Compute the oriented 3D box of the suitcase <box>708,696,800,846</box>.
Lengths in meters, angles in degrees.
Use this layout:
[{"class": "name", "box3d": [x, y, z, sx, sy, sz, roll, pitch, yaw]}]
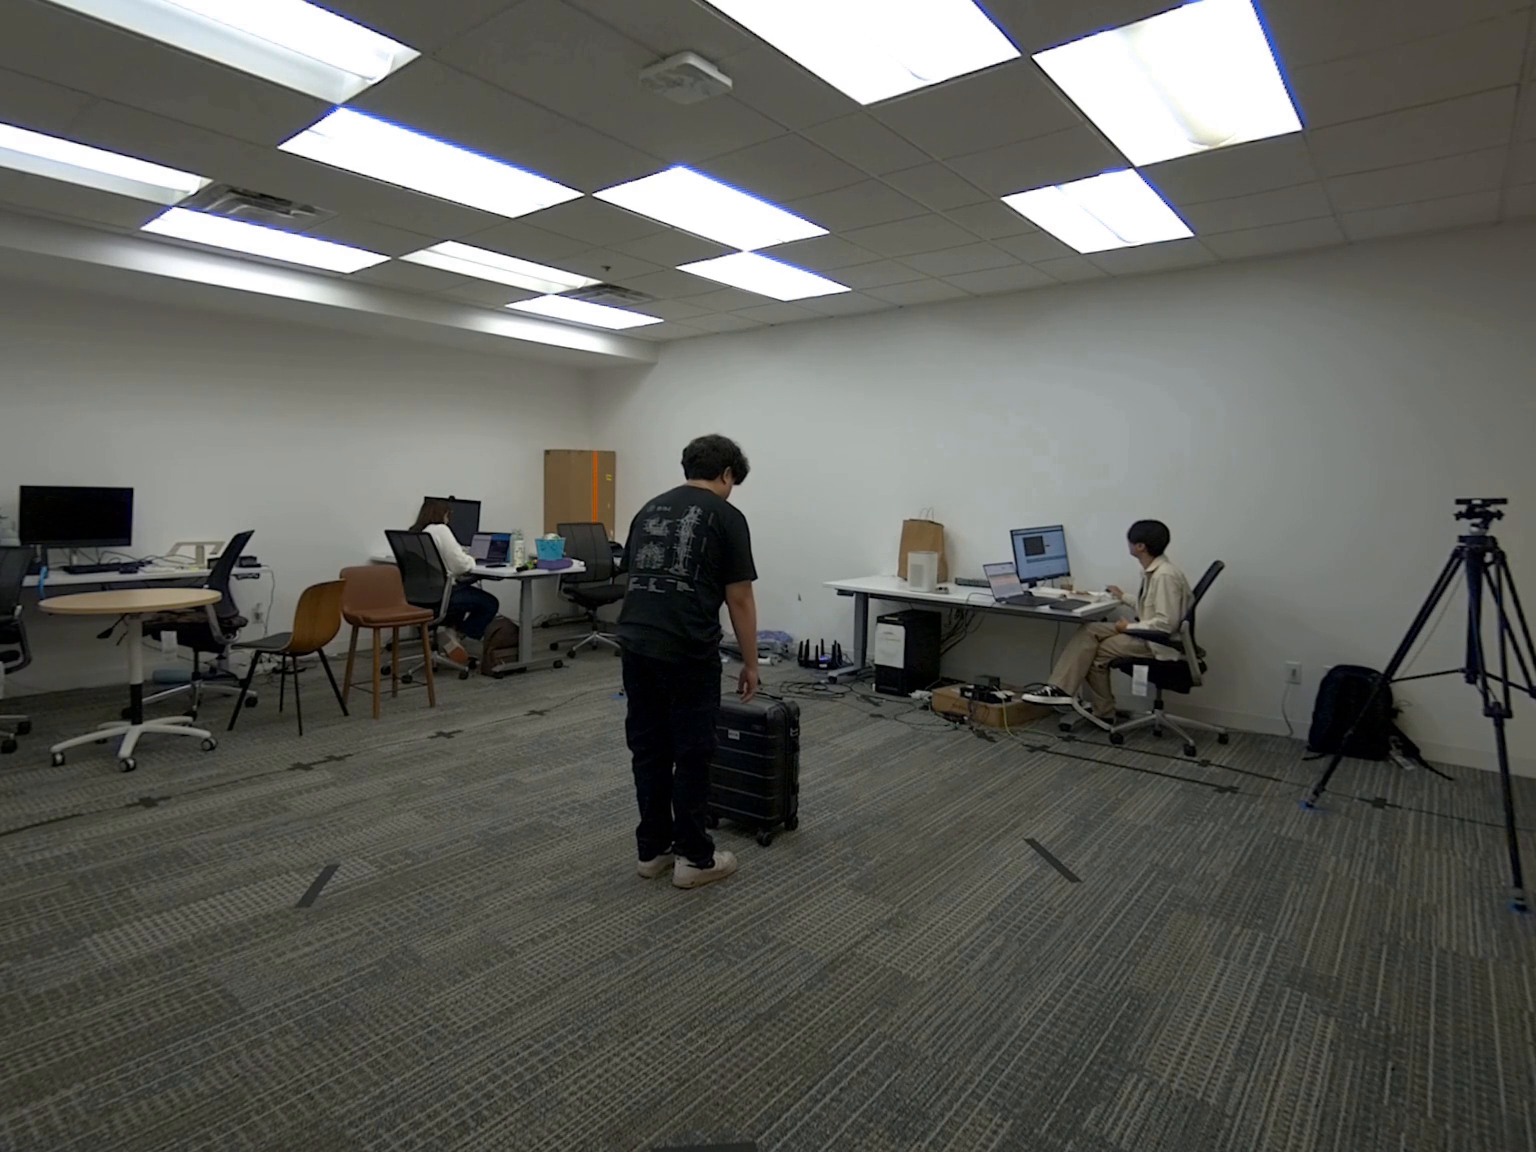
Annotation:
[{"class": "suitcase", "box3d": [-0.071, 0.760, 3.507, 0.387, 0.548, 0.241, 3, 3, 31]}]
